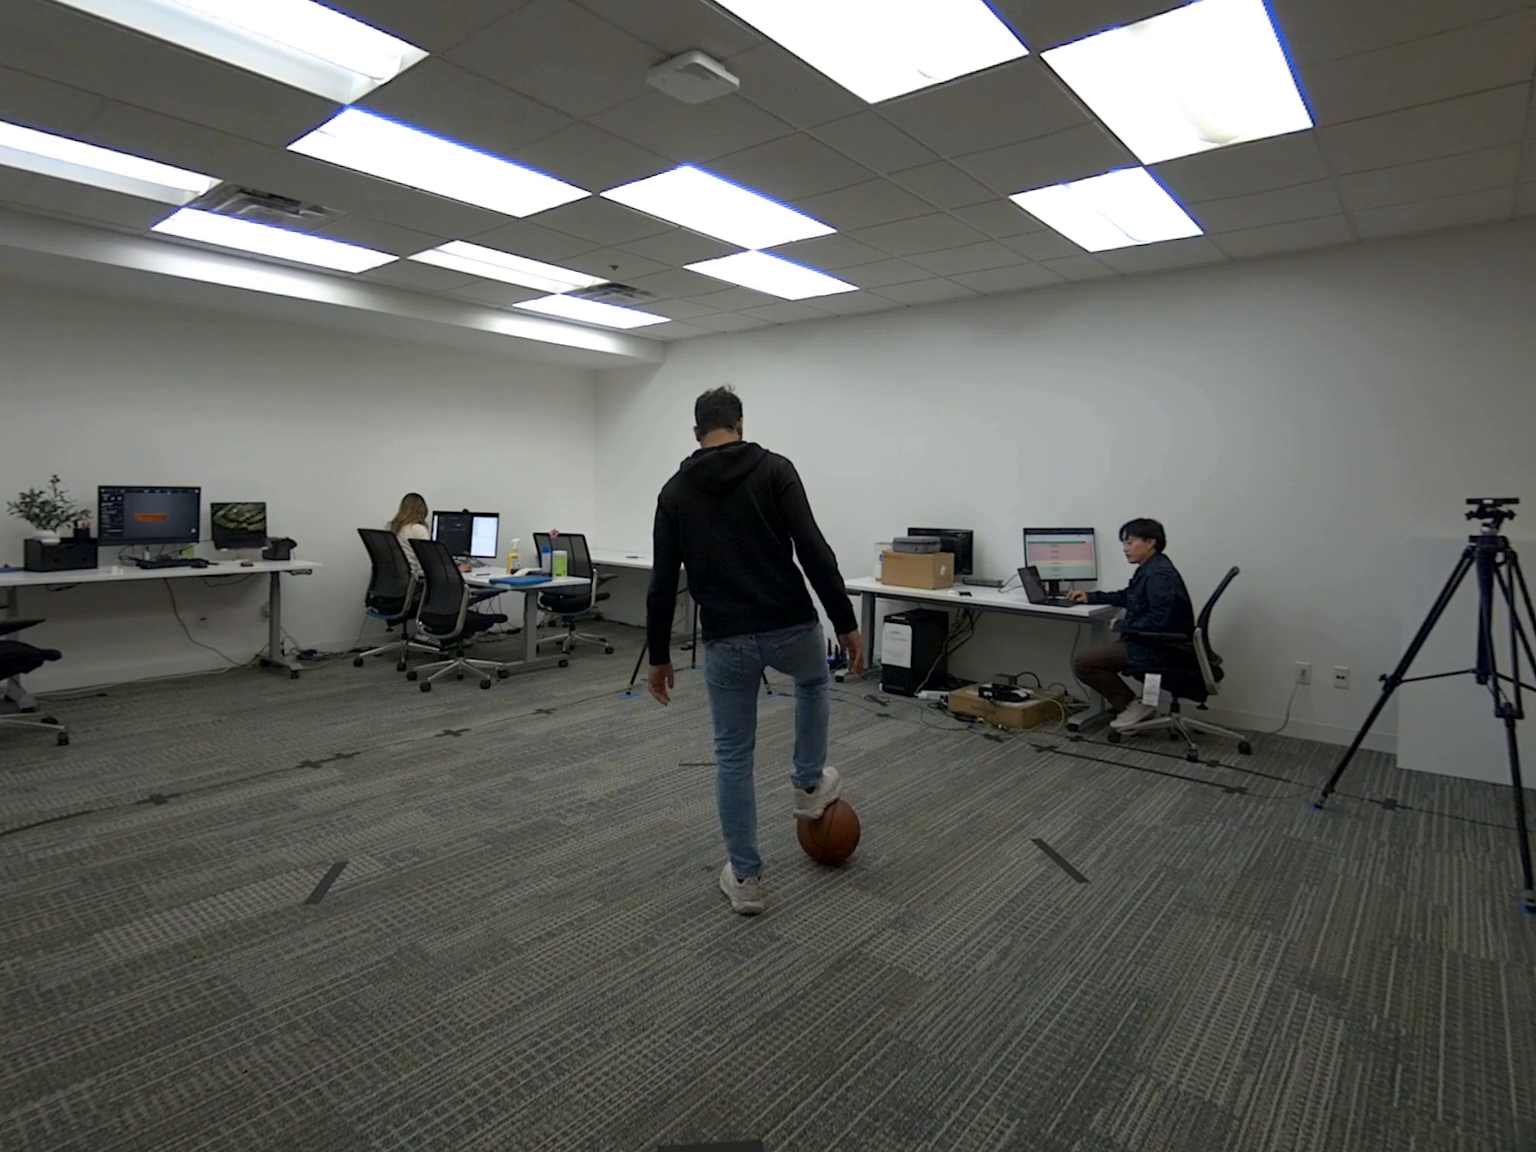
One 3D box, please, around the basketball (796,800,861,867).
[{"bbox_3d":[0.221,0.948,3.198,0.235,0.235,0.237,1,4,-2],"label":"basketball"}]
